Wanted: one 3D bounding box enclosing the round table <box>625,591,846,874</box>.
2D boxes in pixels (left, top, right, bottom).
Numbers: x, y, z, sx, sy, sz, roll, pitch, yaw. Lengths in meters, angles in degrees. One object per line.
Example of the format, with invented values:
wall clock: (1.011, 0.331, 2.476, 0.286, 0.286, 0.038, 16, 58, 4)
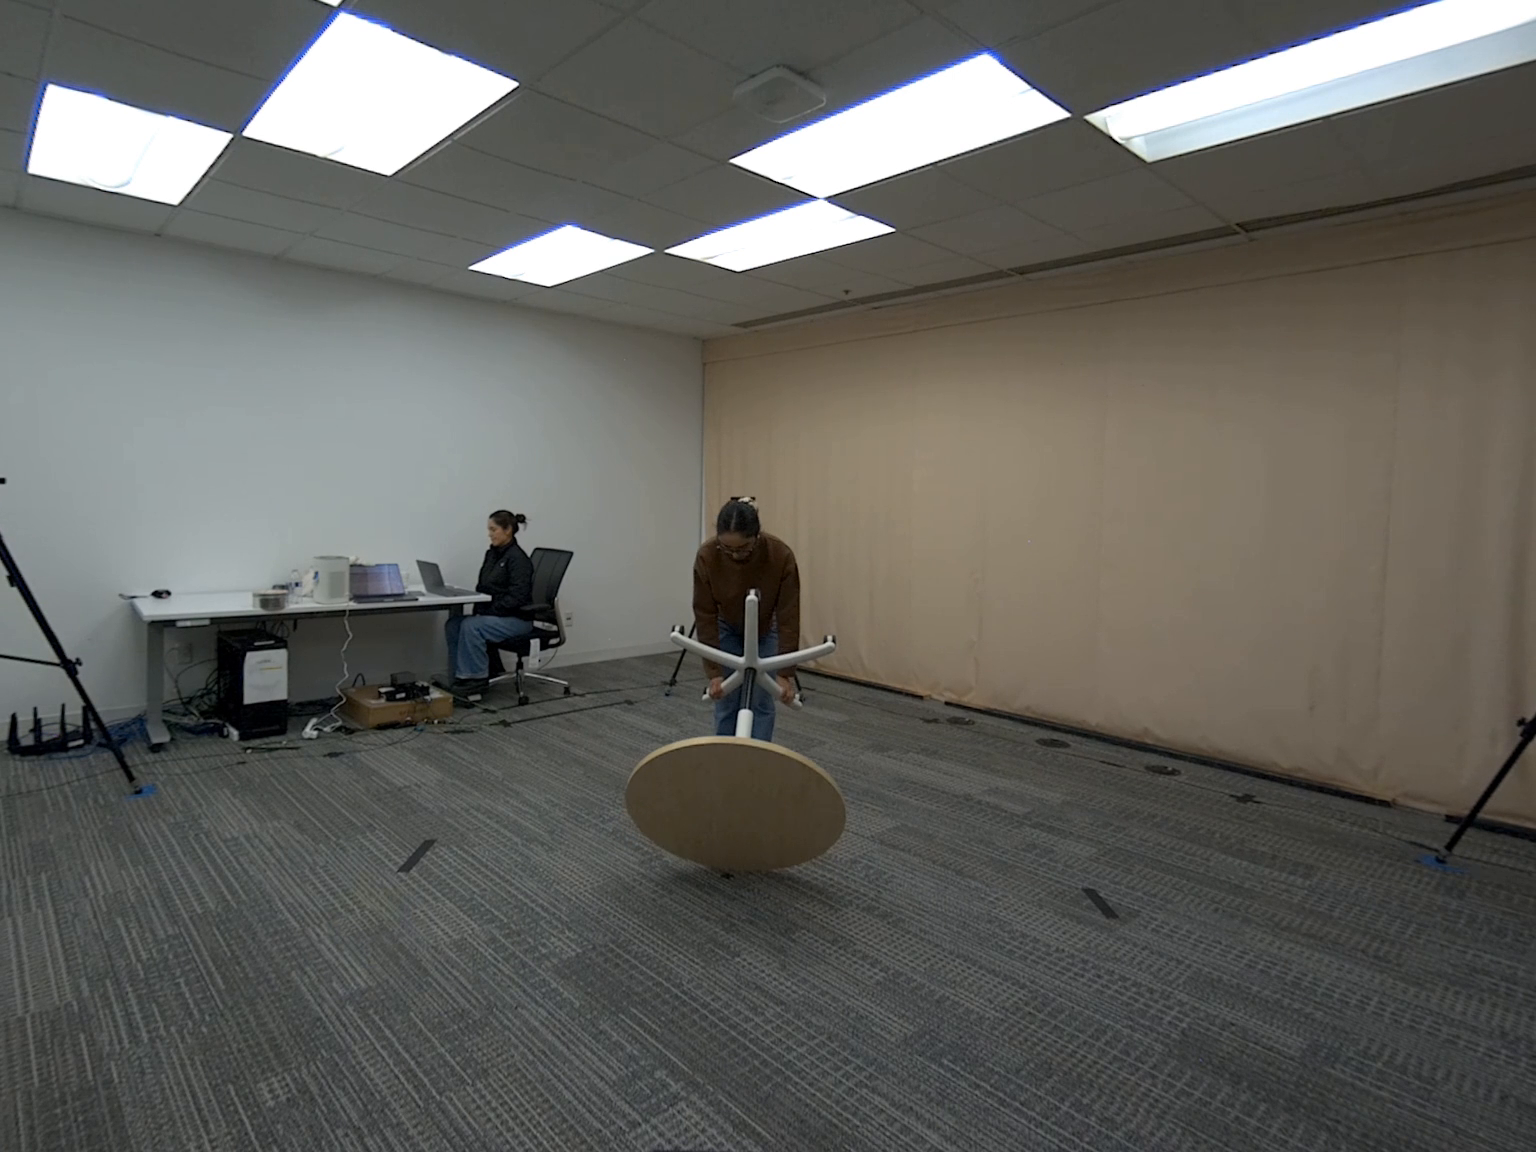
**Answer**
round table: (-0.094, 0.558, 3.215, 0.768, 0.746, 0.808, 2, 40, 5)
